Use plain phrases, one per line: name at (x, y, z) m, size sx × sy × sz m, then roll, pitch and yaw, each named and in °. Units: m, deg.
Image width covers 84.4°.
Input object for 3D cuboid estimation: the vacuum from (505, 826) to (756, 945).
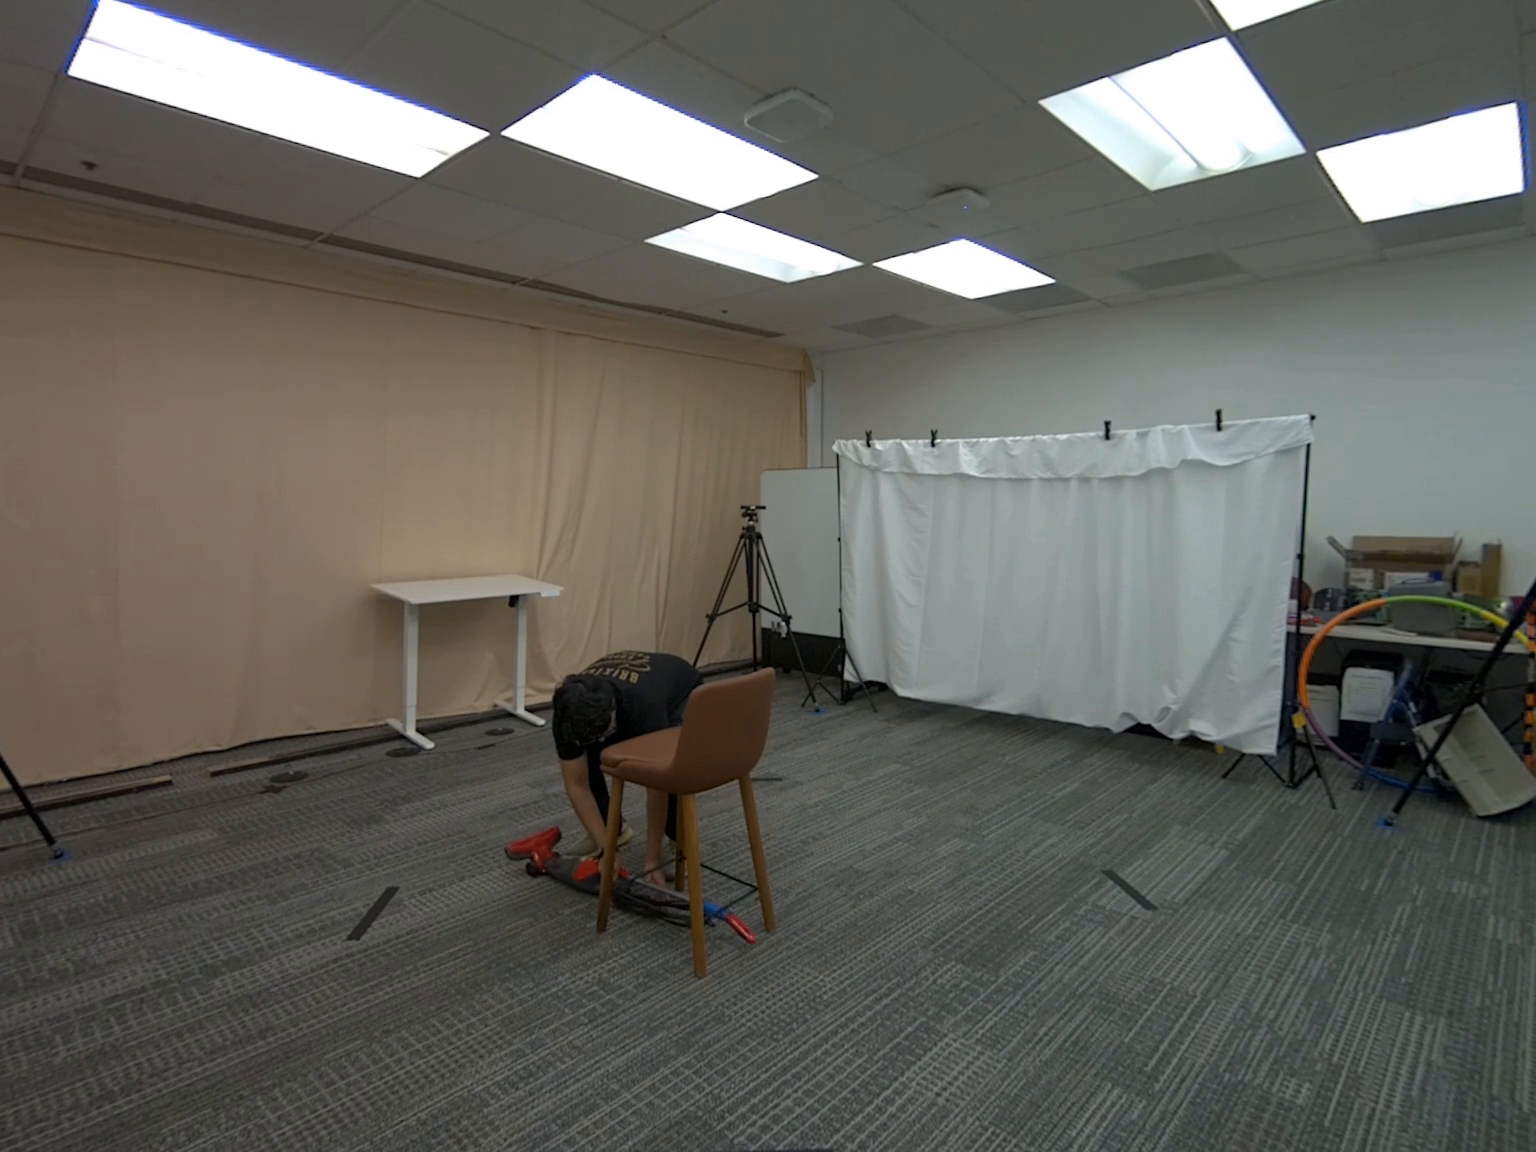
vacuum at (-0.483, 1.101, 2.910) m, size 1.084 × 0.143 × 0.245 m, roll 4°, pitch 6°, yaw 40°
